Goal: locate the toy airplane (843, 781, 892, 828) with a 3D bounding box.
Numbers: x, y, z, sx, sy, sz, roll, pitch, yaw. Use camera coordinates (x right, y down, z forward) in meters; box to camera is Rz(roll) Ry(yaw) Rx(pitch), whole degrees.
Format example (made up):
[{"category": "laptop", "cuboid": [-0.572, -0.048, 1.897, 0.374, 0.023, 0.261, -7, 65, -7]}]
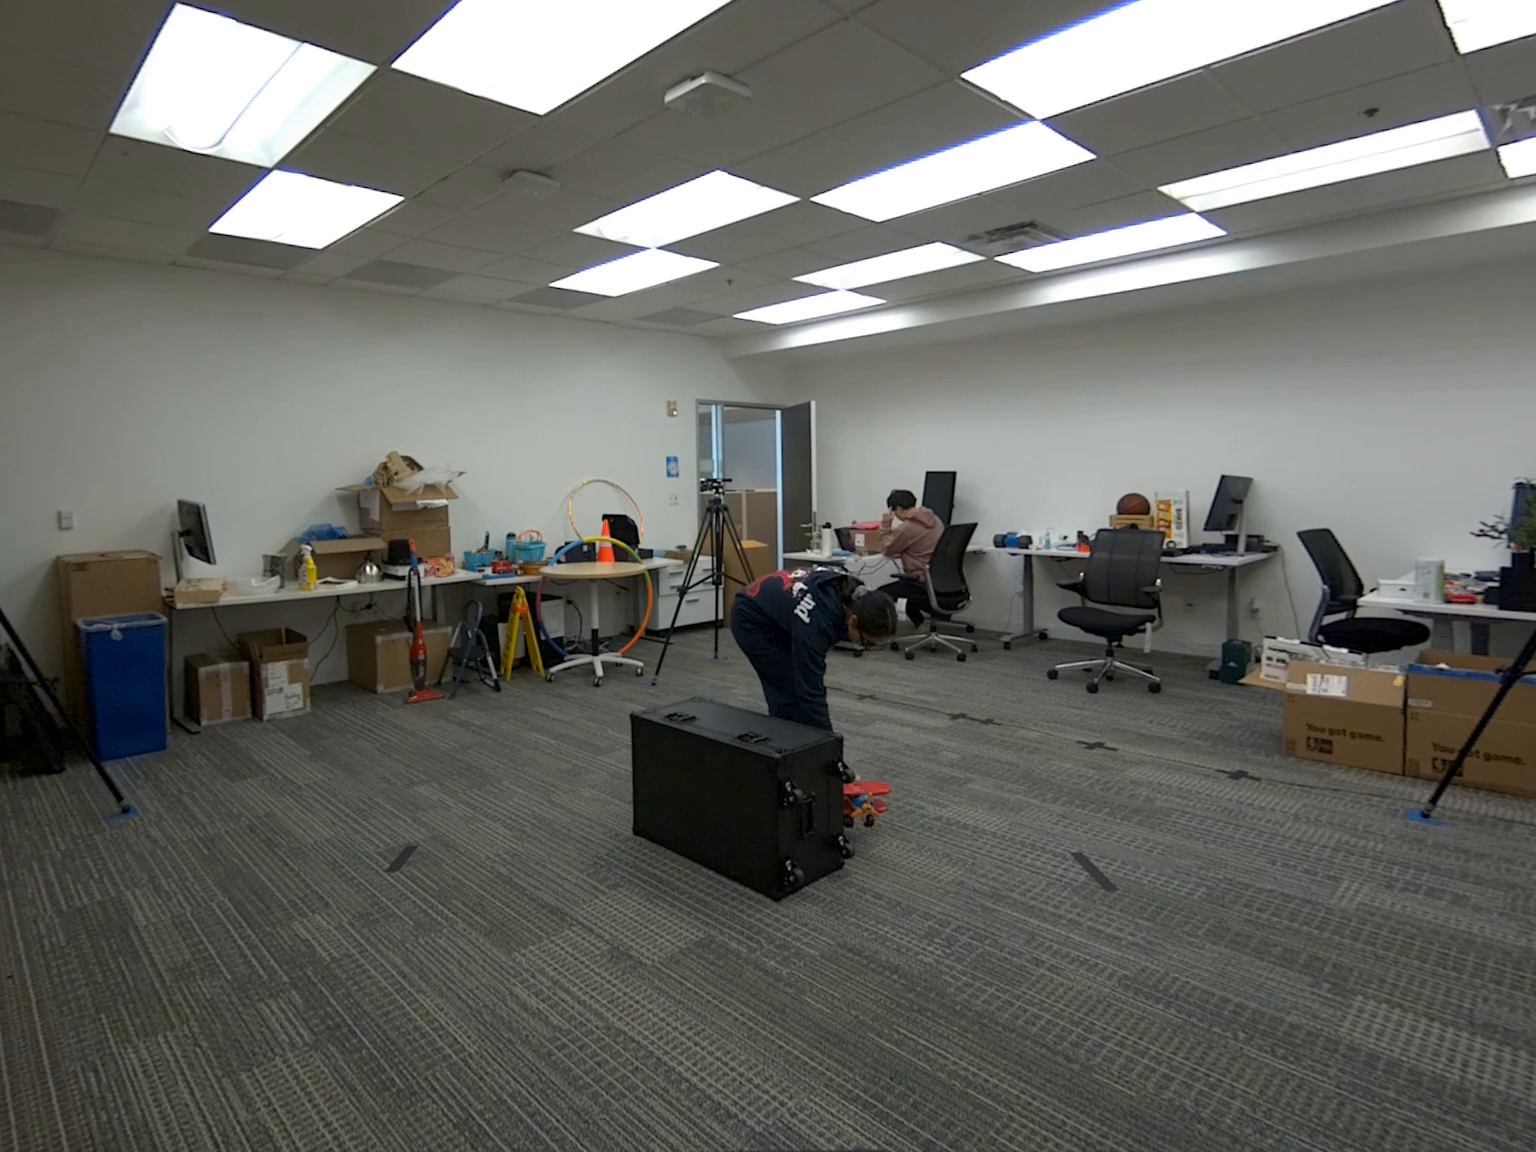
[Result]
[{"category": "toy airplane", "cuboid": [0.320, 0.851, 3.328, 0.245, 0.154, 0.269, -13, 35, -39]}]
